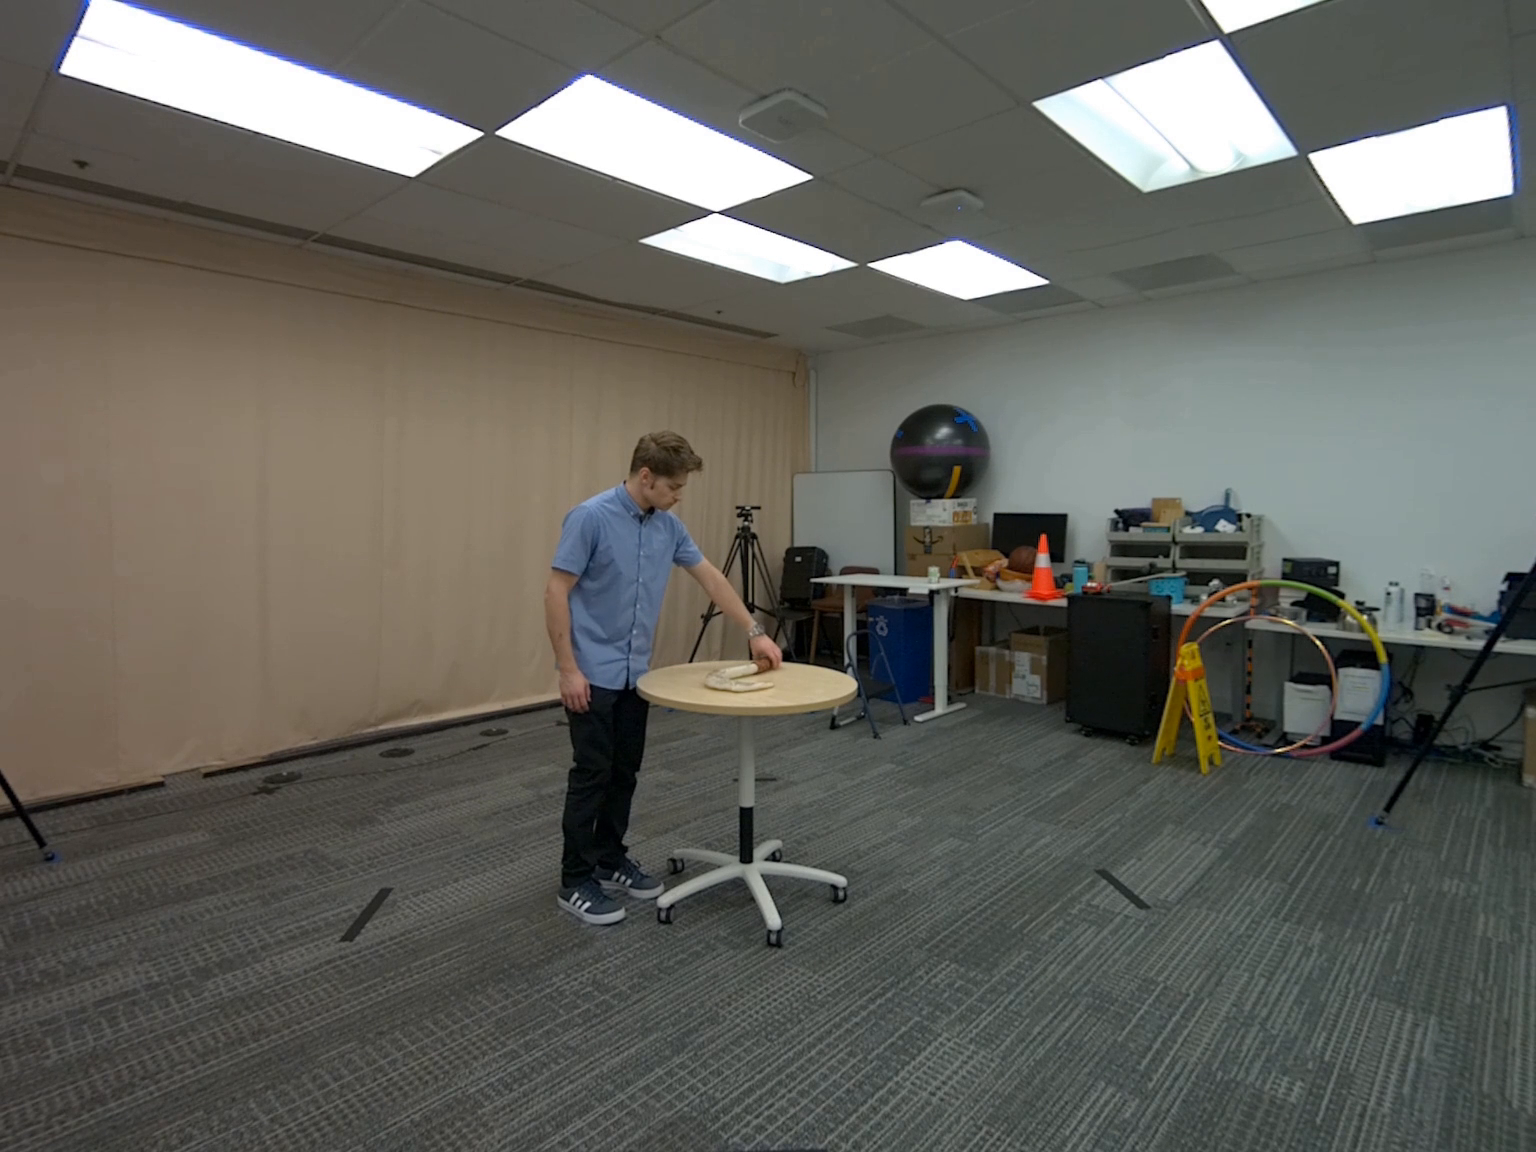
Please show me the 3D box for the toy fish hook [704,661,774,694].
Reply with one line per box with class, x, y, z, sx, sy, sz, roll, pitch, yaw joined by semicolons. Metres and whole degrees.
toy fish hook;-0.035;0.349;2.958;0.231;0.048;0.494;9;9;27
